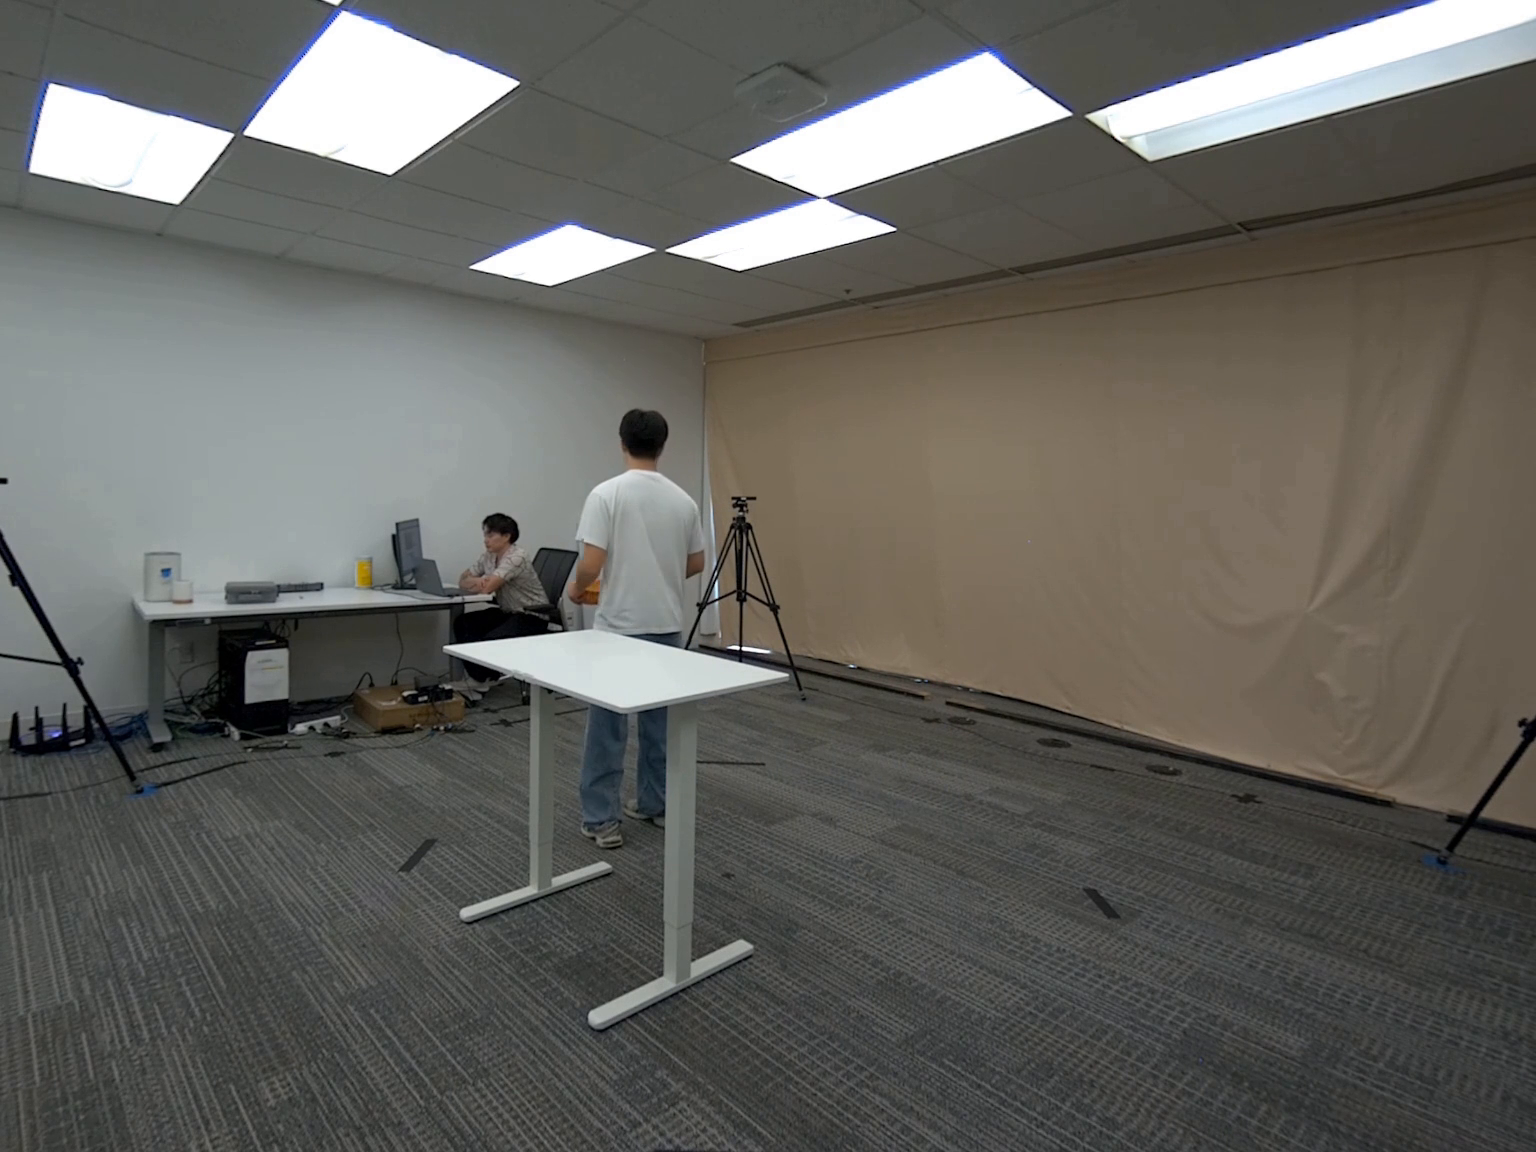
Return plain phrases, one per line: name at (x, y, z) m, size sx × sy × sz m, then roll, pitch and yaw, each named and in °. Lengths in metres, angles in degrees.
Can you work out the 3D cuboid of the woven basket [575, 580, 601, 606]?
woven basket at (-0.692, 0.079, 3.652) m, size 0.343 × 0.073 × 0.259 m, roll -4°, pitch 13°, yaw -40°
